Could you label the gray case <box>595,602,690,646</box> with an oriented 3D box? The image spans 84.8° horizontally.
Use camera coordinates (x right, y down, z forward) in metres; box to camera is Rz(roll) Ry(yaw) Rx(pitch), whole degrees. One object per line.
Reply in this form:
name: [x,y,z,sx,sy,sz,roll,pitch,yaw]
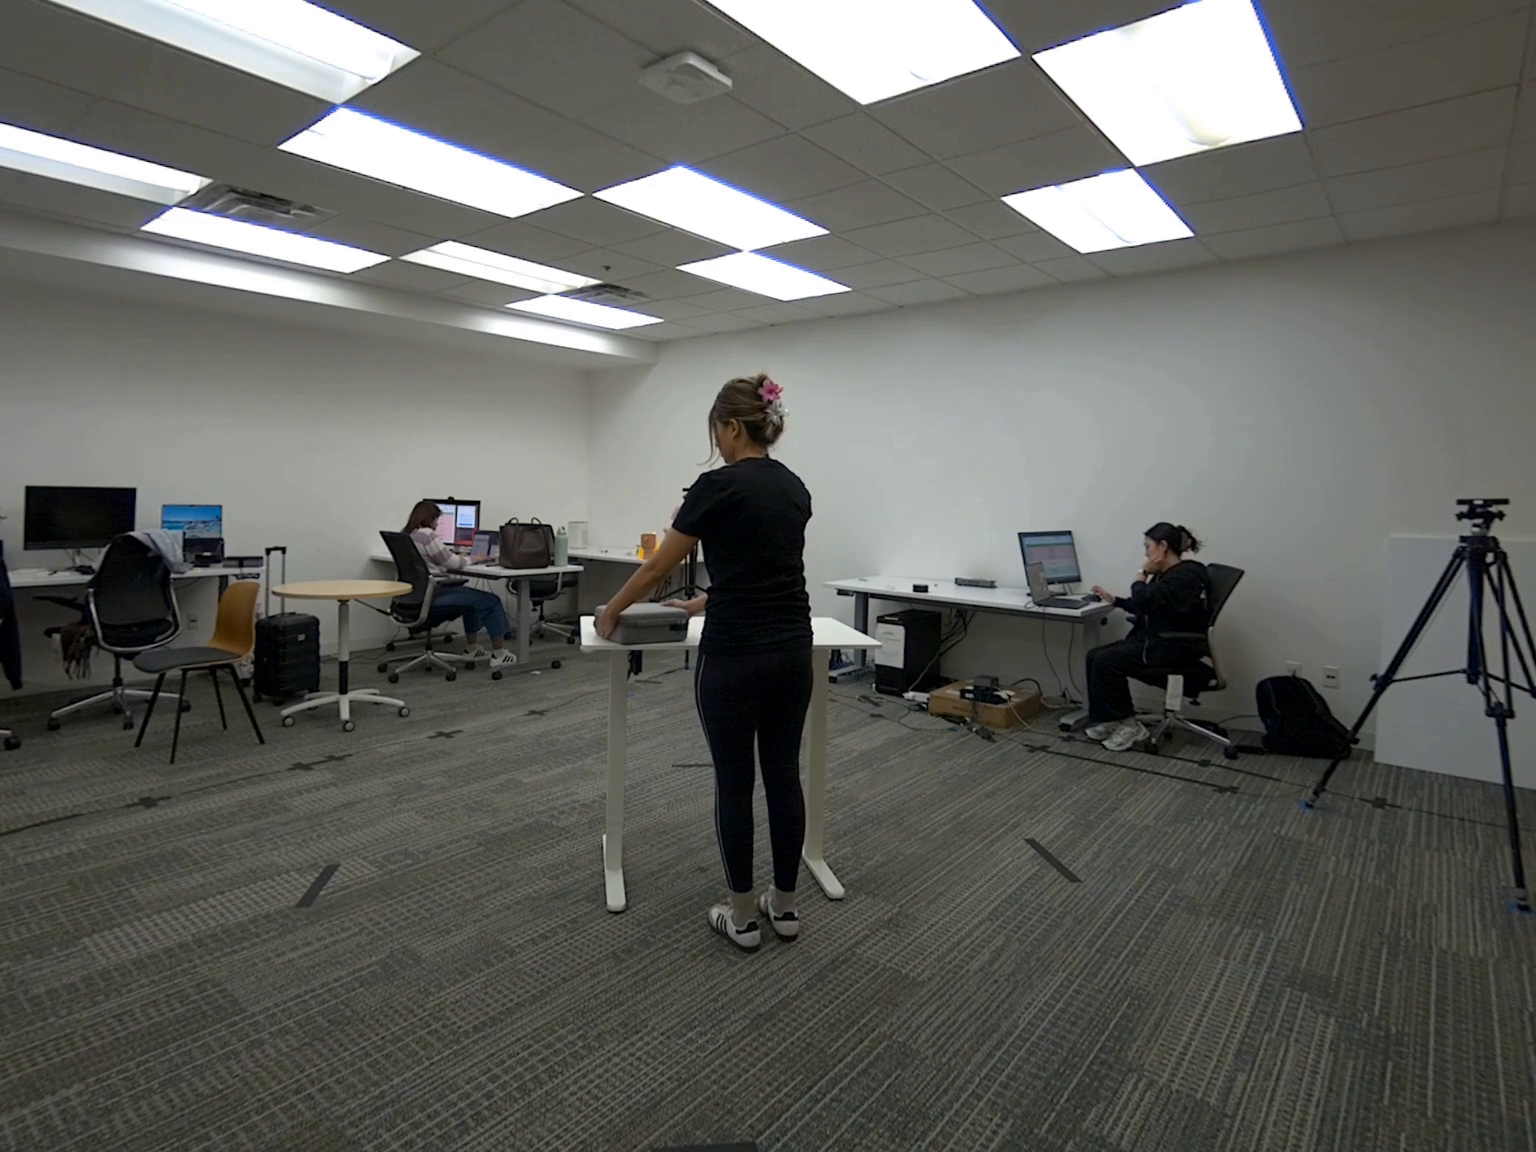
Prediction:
gray case: [-0.445,0.156,2.862,0.250,0.104,0.269,-2,6,-31]
